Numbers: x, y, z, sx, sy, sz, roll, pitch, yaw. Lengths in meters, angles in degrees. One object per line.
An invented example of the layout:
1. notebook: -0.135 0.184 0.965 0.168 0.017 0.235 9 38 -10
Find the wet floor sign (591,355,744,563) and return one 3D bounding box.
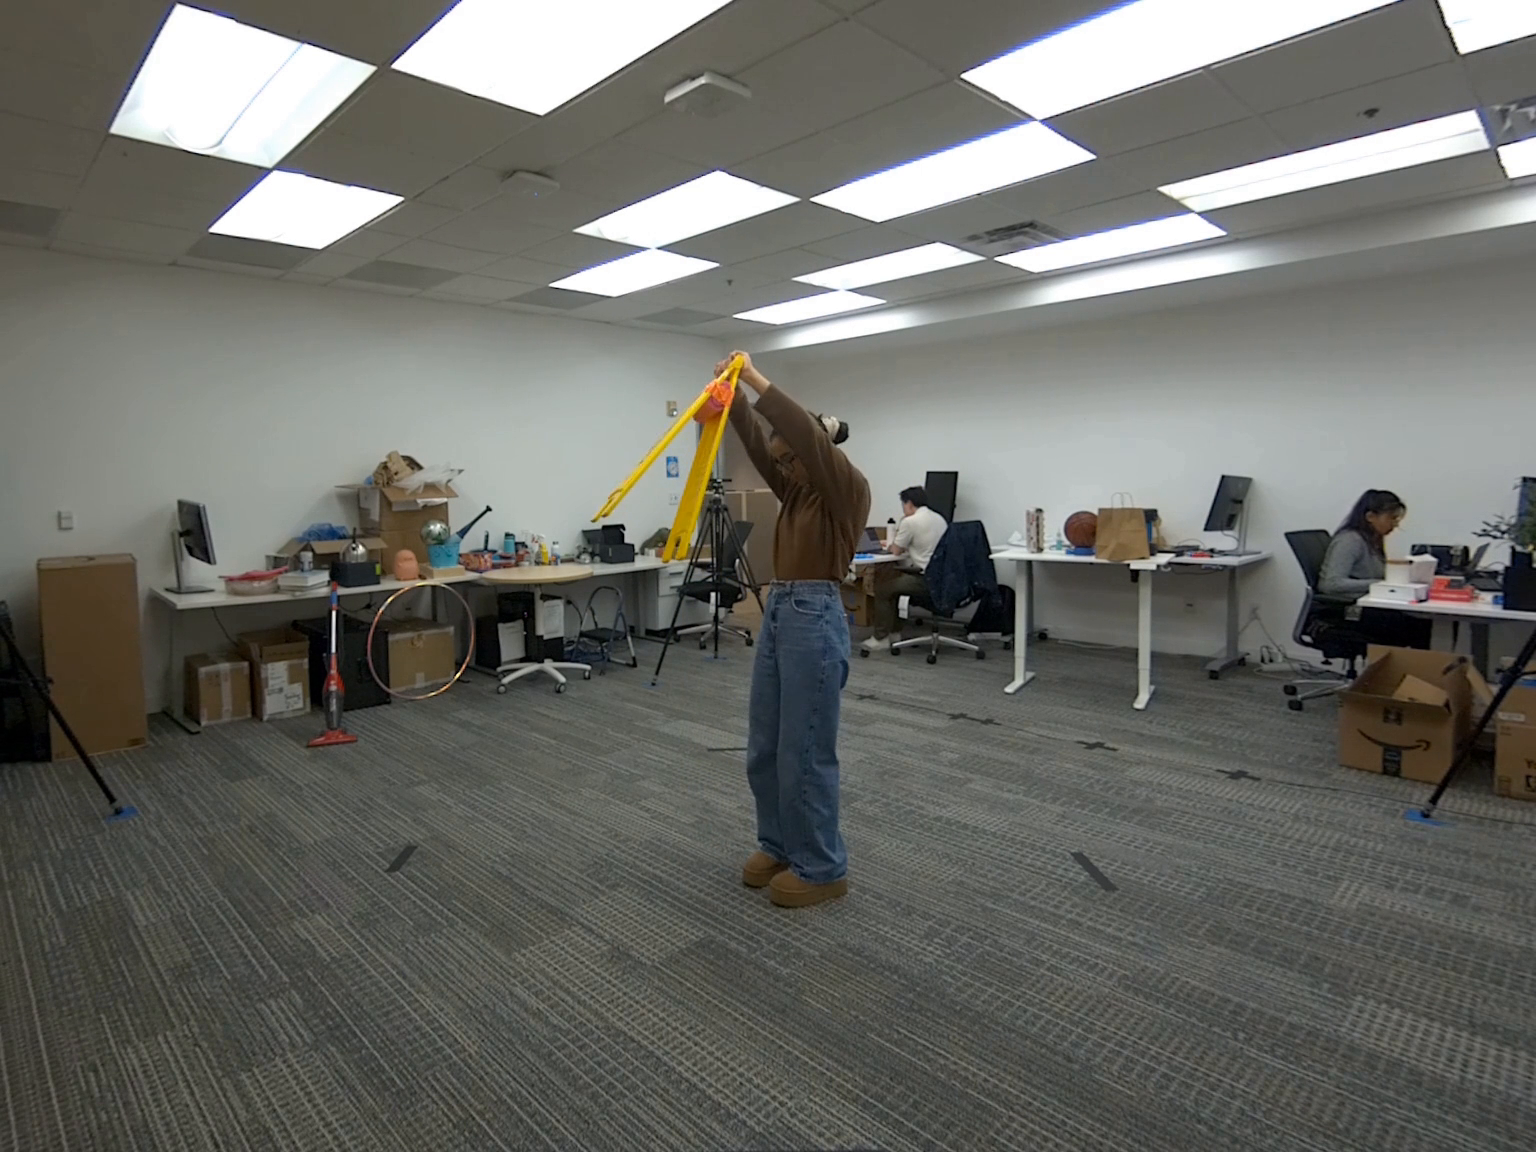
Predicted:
1. wet floor sign: -0.257 -0.390 2.645 0.285 0.649 0.286 29 -12 -14
